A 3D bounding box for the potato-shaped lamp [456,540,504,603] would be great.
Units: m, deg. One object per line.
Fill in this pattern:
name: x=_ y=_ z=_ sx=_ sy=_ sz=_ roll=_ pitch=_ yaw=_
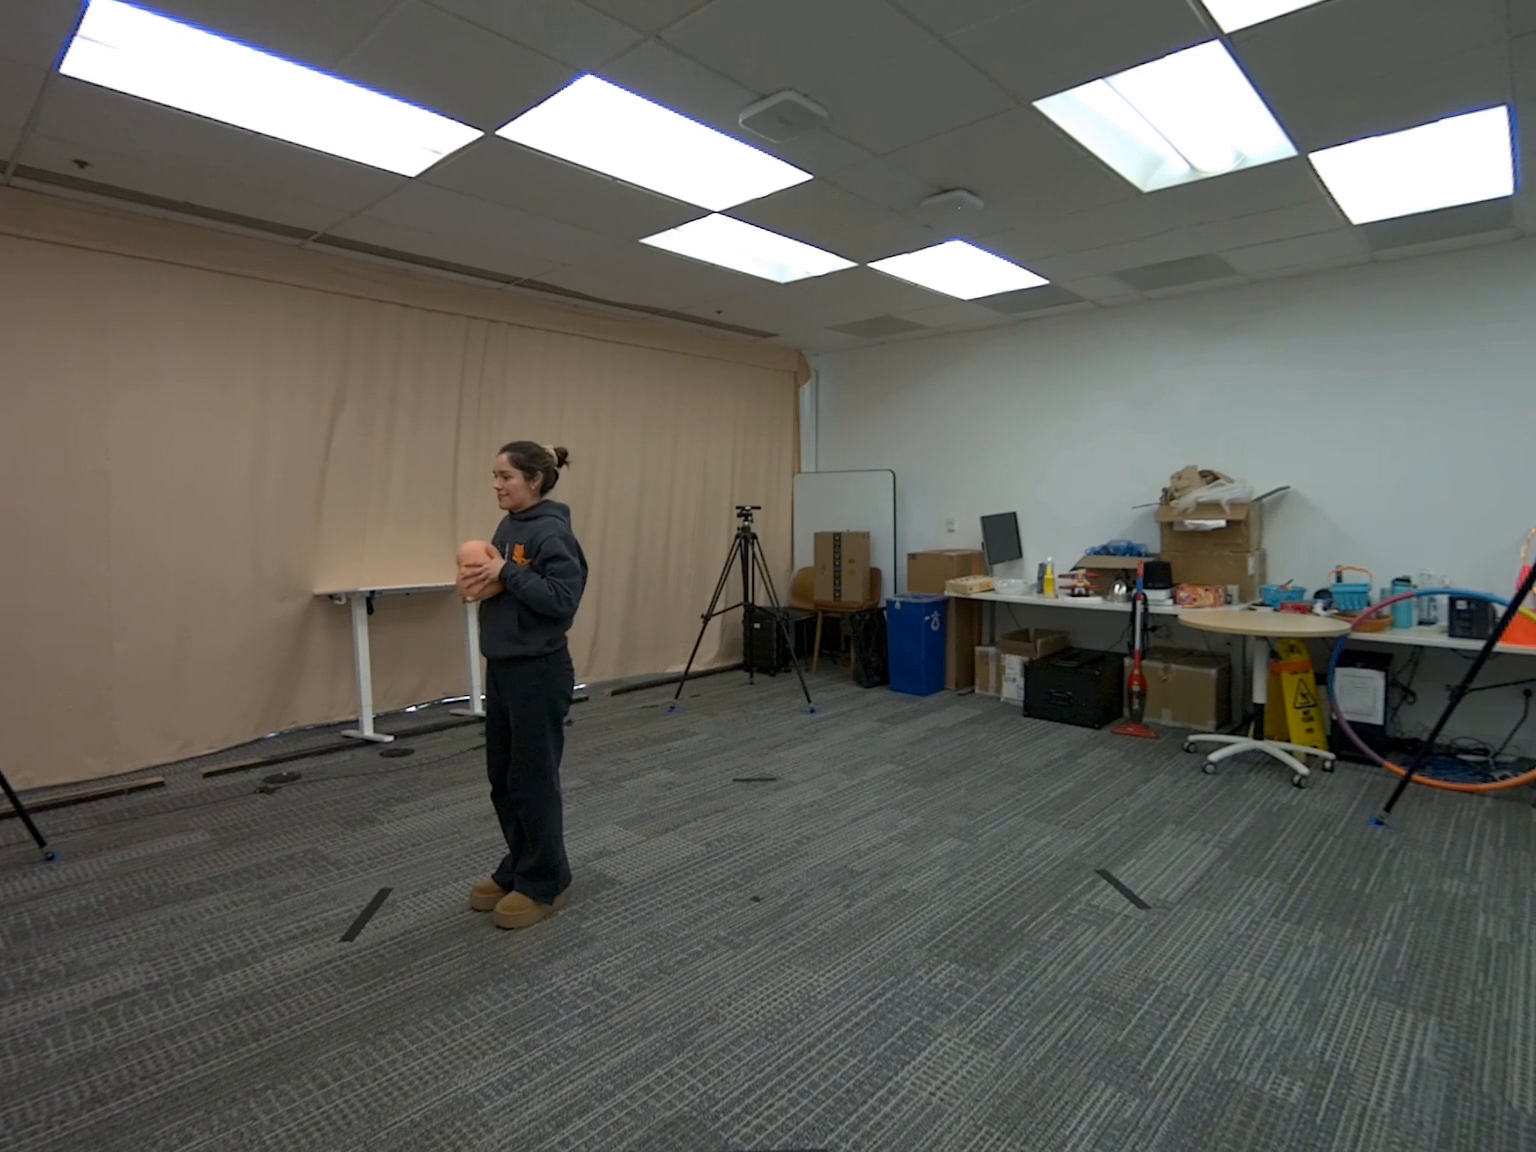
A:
potato-shaped lamp: x=-0.963 y=-0.011 z=2.822 sx=0.169 sy=0.197 sz=0.167 roll=-23 pitch=4 yaw=-15
